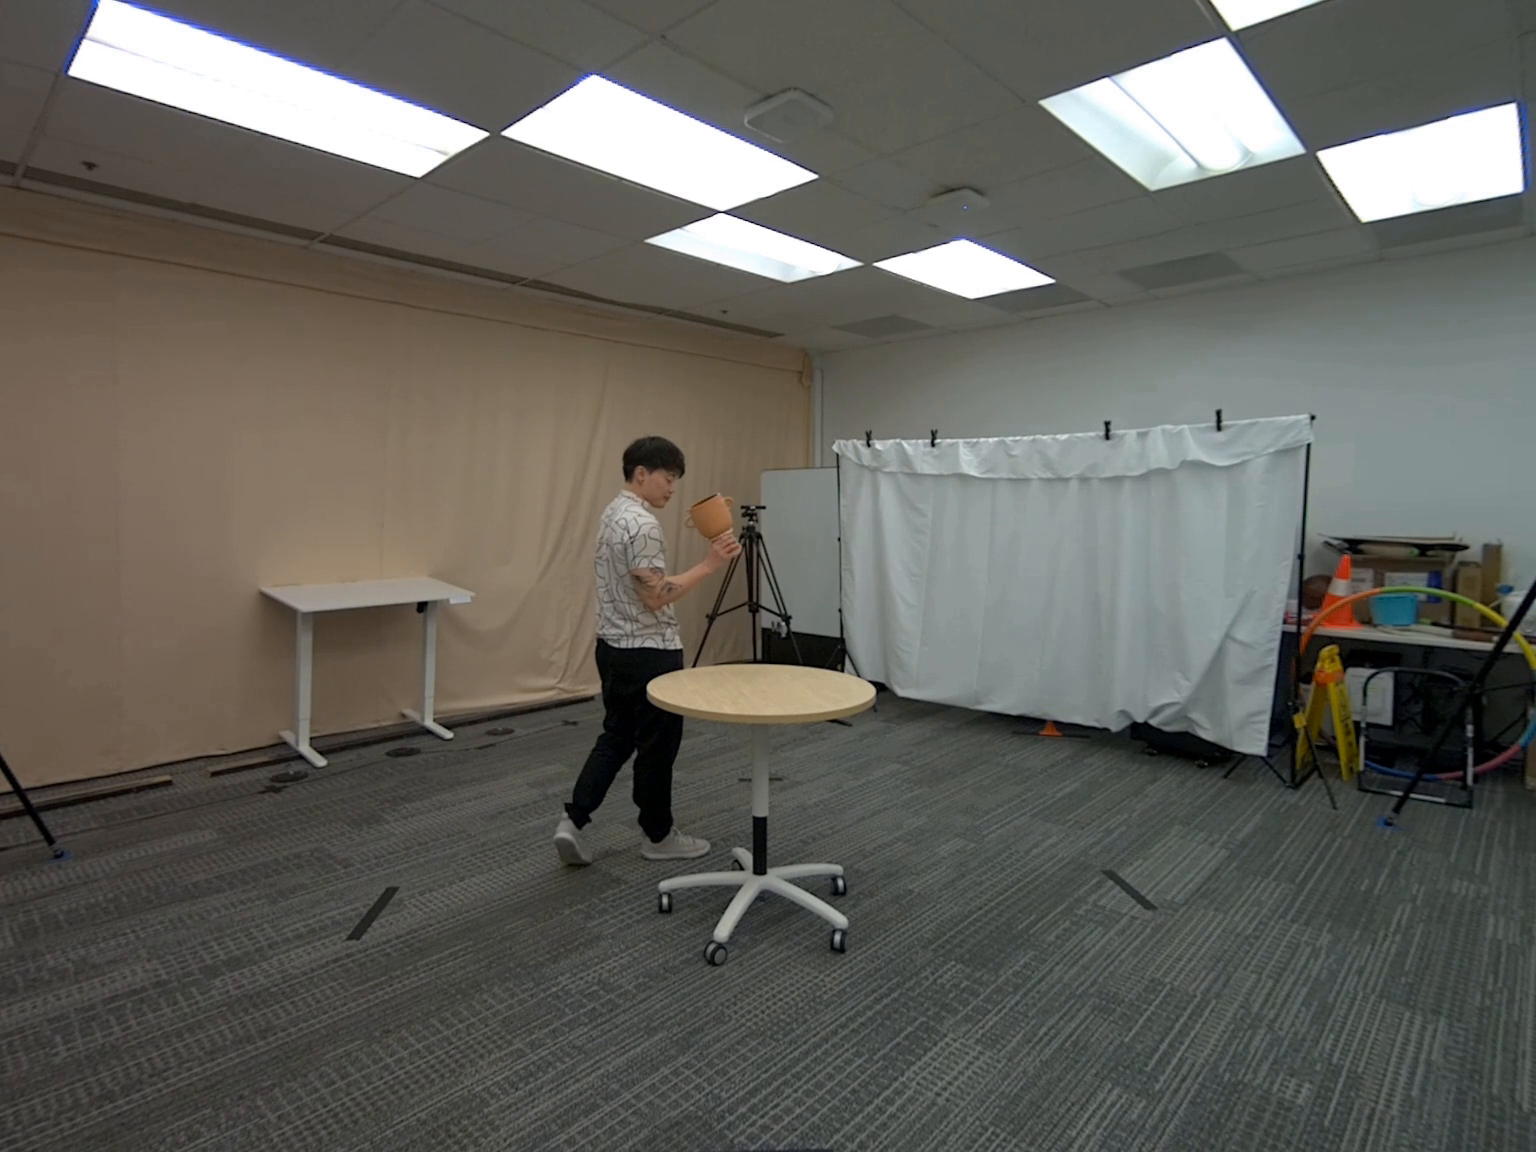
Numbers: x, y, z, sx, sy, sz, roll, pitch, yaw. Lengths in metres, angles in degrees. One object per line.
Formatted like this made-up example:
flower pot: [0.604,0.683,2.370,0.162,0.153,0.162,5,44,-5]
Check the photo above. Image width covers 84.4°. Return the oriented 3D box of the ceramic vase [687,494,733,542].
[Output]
ceramic vase: [-0.192,-0.175,3.075,0.162,0.218,0.133,-16,11,34]
